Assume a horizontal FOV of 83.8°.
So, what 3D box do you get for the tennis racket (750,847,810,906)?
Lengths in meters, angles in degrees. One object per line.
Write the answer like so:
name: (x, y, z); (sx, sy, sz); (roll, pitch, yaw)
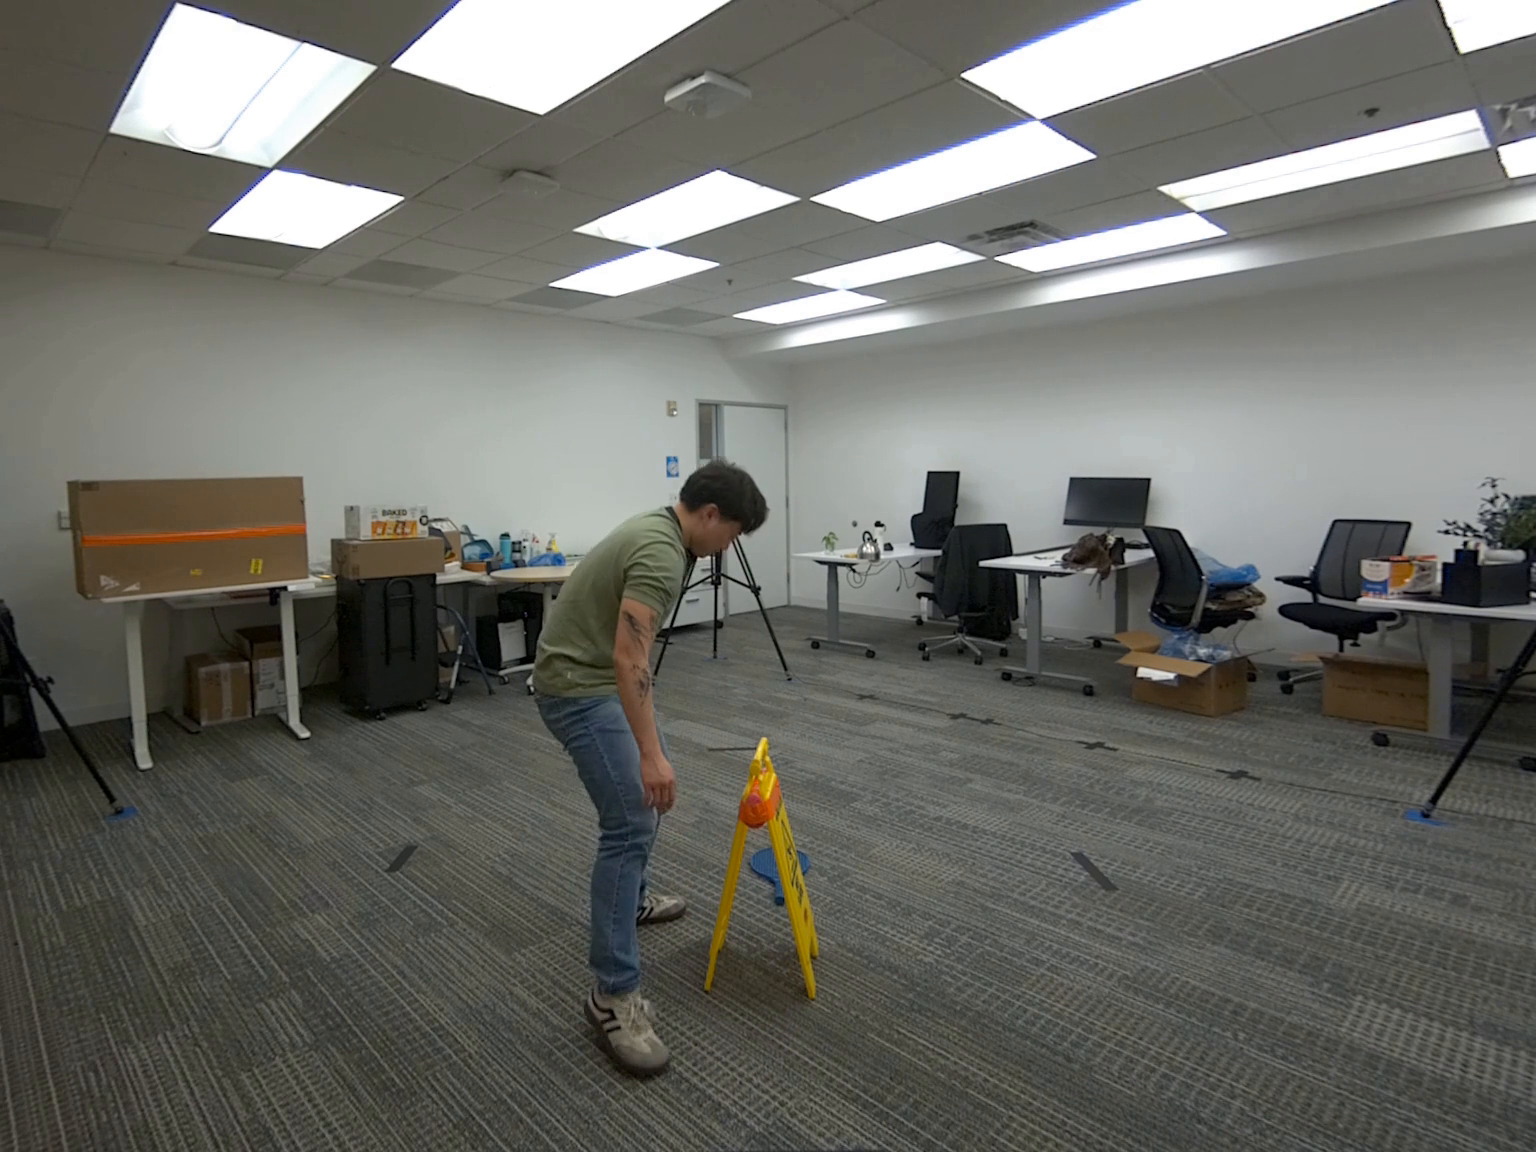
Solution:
tennis racket: (0.043, 1.040, 3.007); (0.214, 0.031, 0.434); (-1, 5, -1)
